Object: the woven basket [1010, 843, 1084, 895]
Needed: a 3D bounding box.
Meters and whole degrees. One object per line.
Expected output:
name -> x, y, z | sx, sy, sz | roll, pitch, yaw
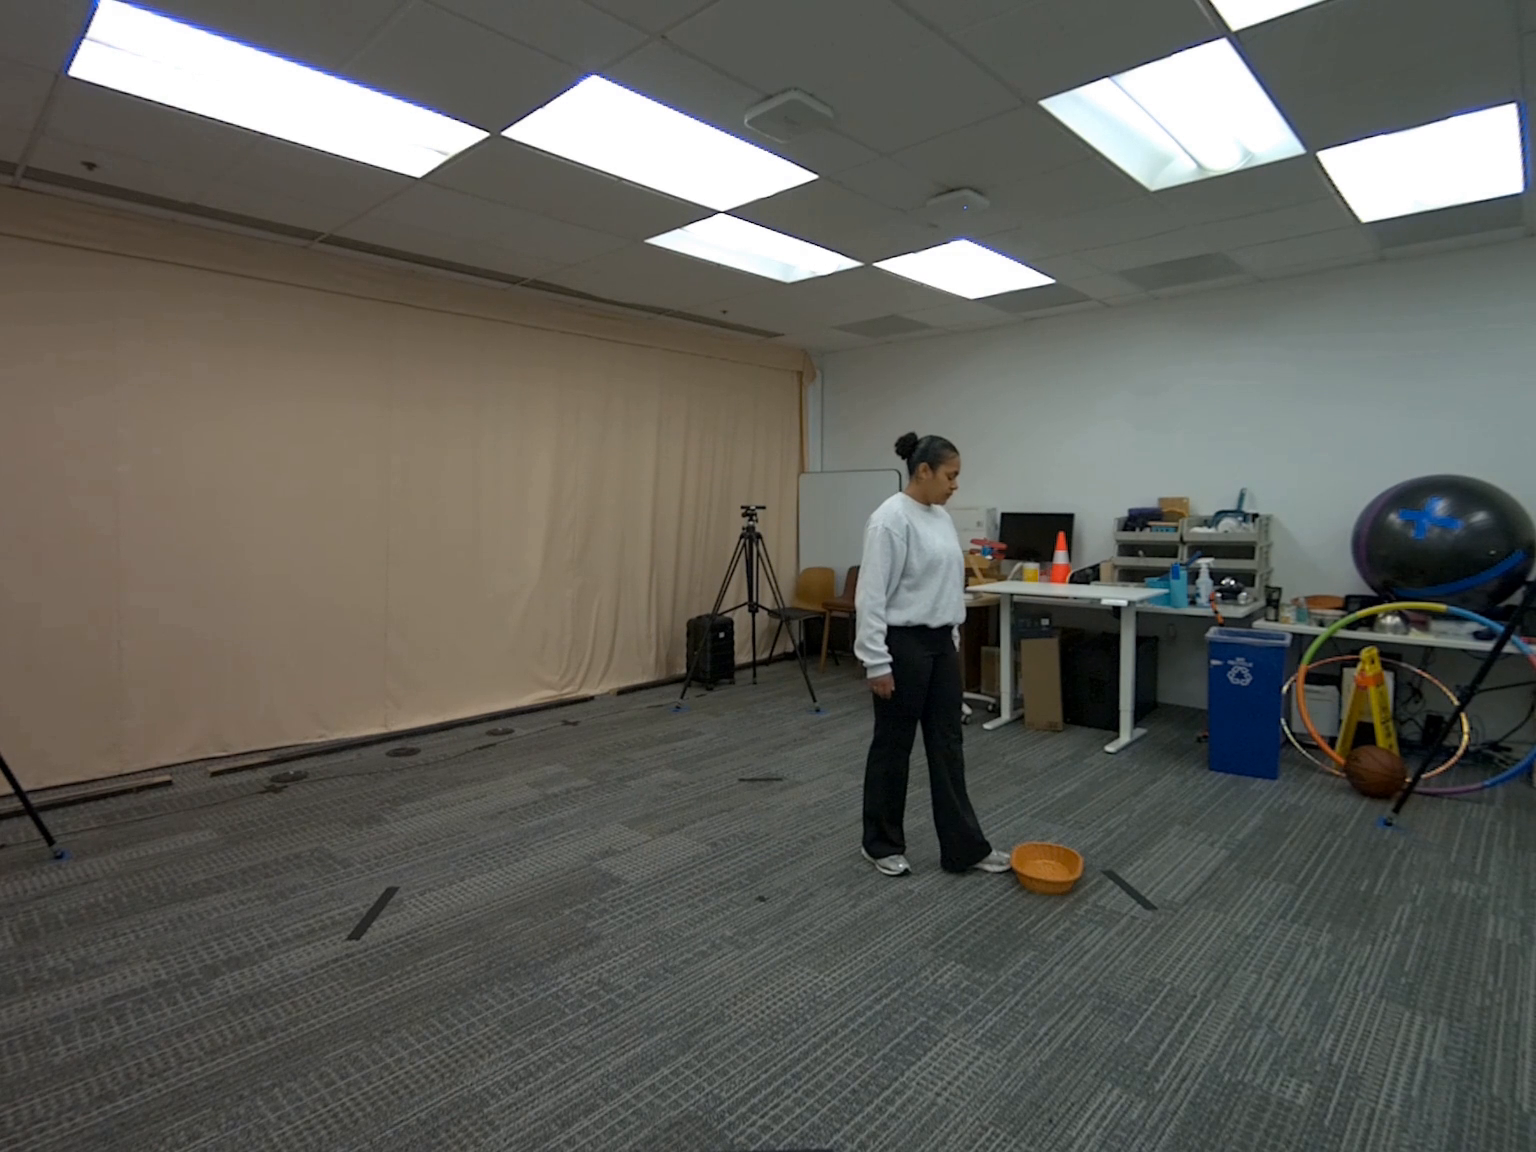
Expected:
woven basket -> 1.037, 1.090, 3.145 | 0.260, 0.073, 0.341 | 4, 6, 29
